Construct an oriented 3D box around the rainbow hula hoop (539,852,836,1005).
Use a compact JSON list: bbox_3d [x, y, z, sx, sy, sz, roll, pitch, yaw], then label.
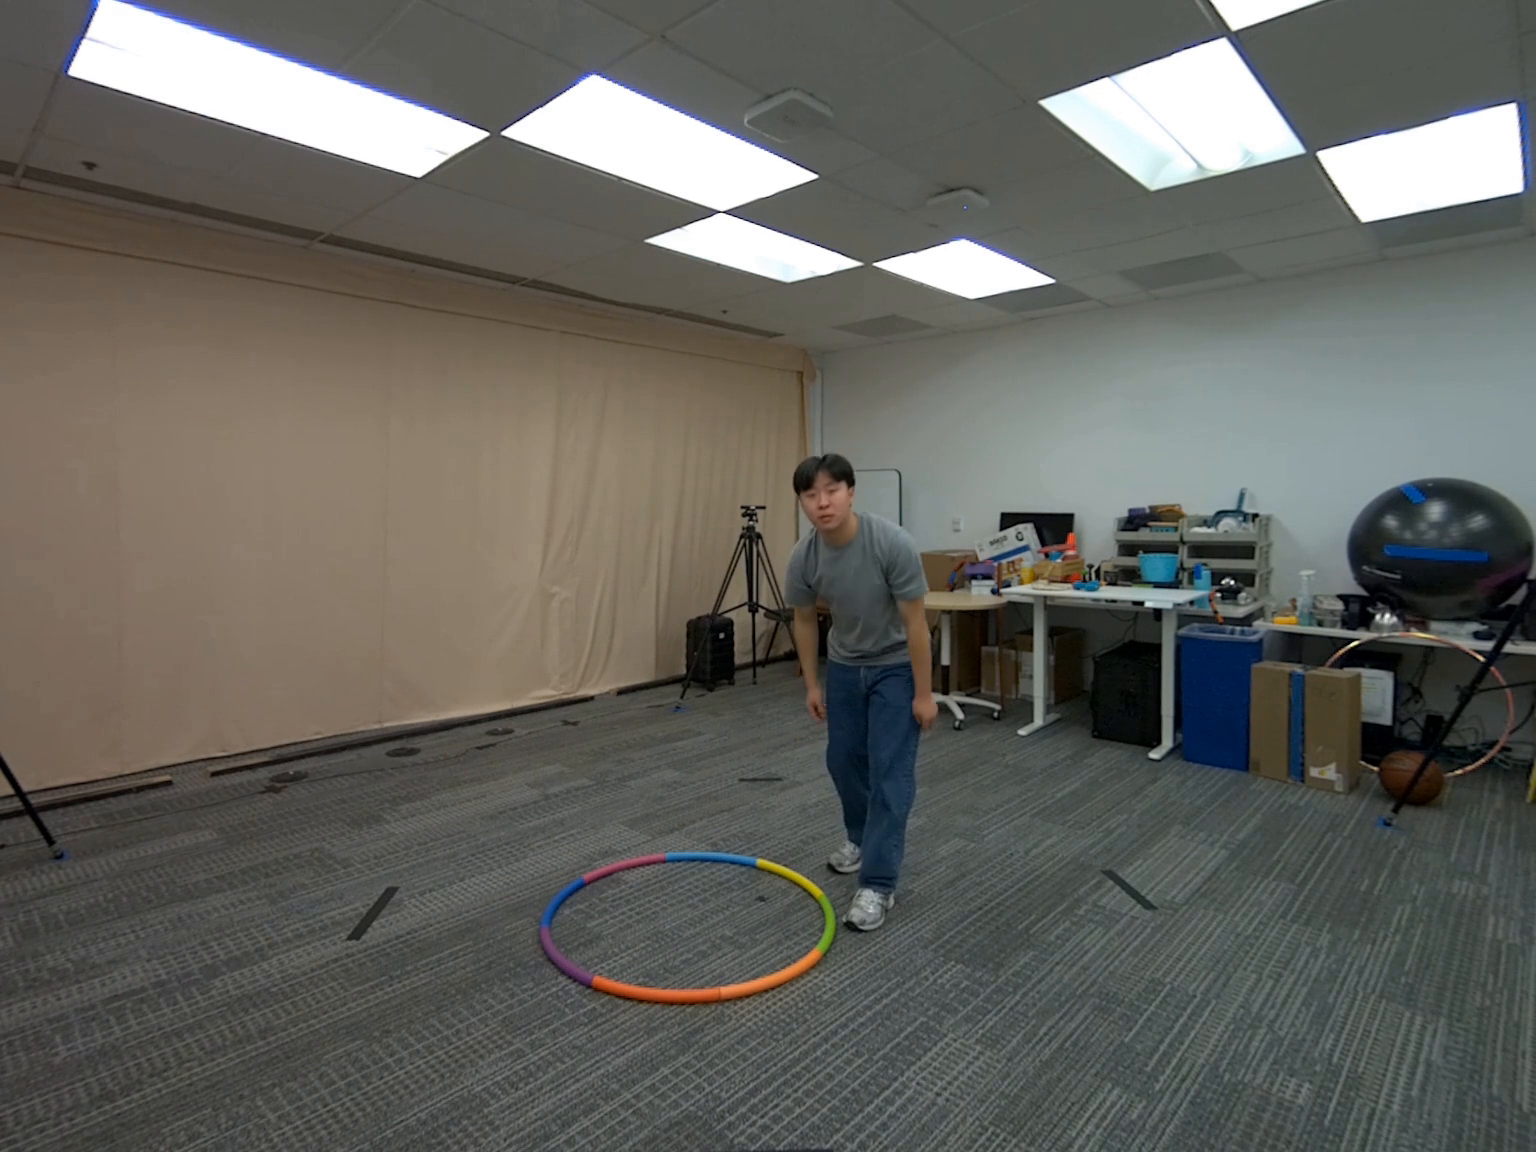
[{"bbox_3d":[-0.267,1.129,2.840,0.978,0.035,0.982,0,4,-2],"label":"rainbow hula hoop"}]
